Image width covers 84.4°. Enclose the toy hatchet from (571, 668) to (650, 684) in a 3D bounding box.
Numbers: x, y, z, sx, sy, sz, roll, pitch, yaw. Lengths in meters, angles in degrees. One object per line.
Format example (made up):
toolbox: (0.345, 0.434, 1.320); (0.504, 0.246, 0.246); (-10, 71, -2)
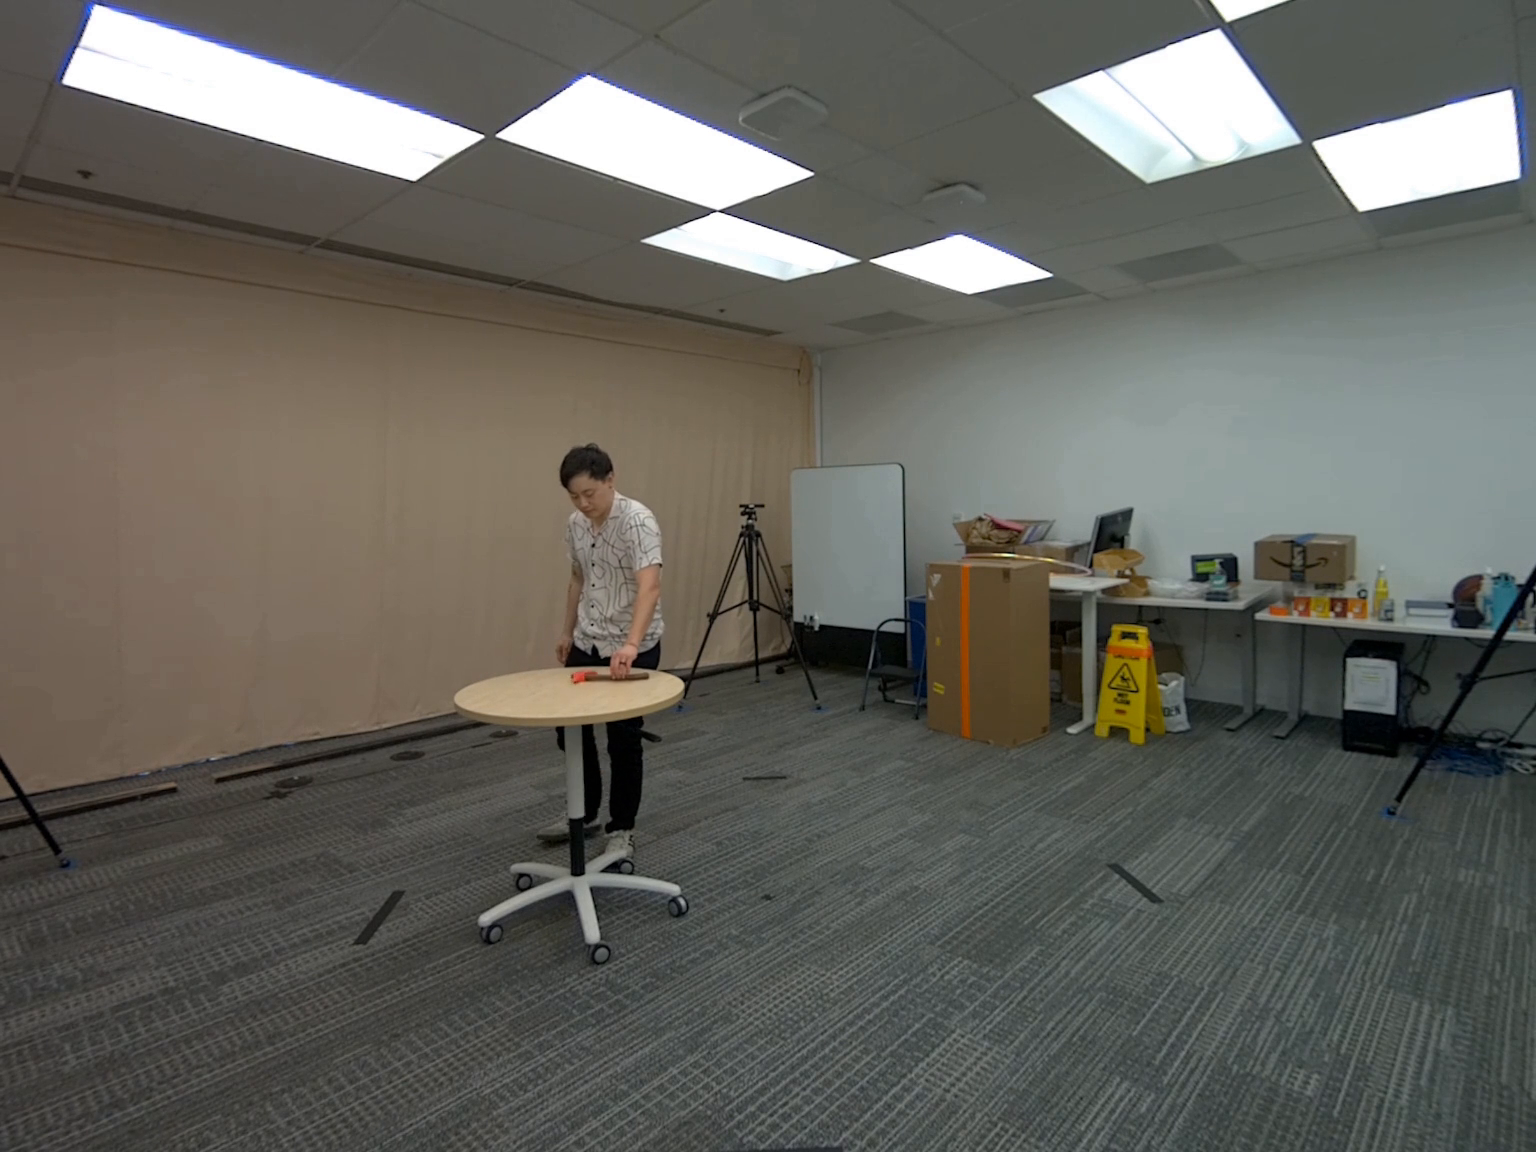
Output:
toy hatchet: (-0.565, 0.349, 3.010); (0.266, 0.029, 0.133); (-3, 7, -13)
